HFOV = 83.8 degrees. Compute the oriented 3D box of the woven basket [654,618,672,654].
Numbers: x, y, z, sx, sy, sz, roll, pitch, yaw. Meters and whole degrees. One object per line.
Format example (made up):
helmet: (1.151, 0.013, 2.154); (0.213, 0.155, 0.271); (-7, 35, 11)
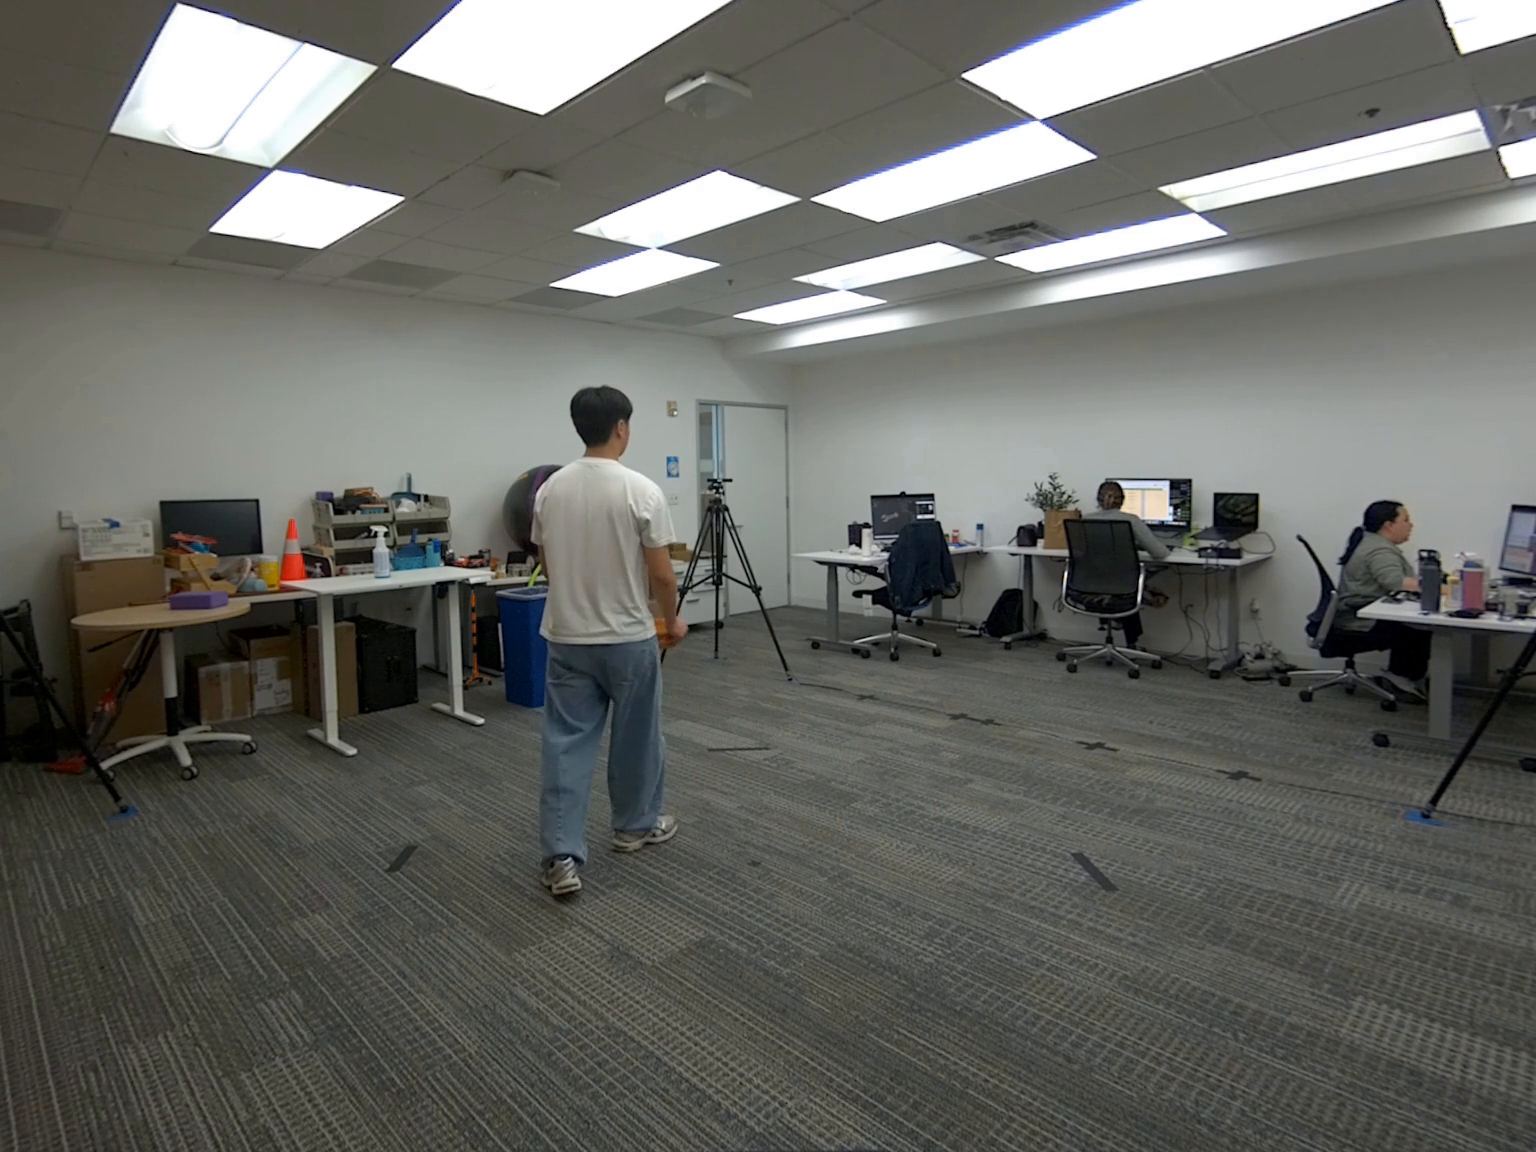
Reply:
woven basket: (-0.483, 0.222, 3.335); (0.360, 0.073, 0.247); (8, 9, 29)
